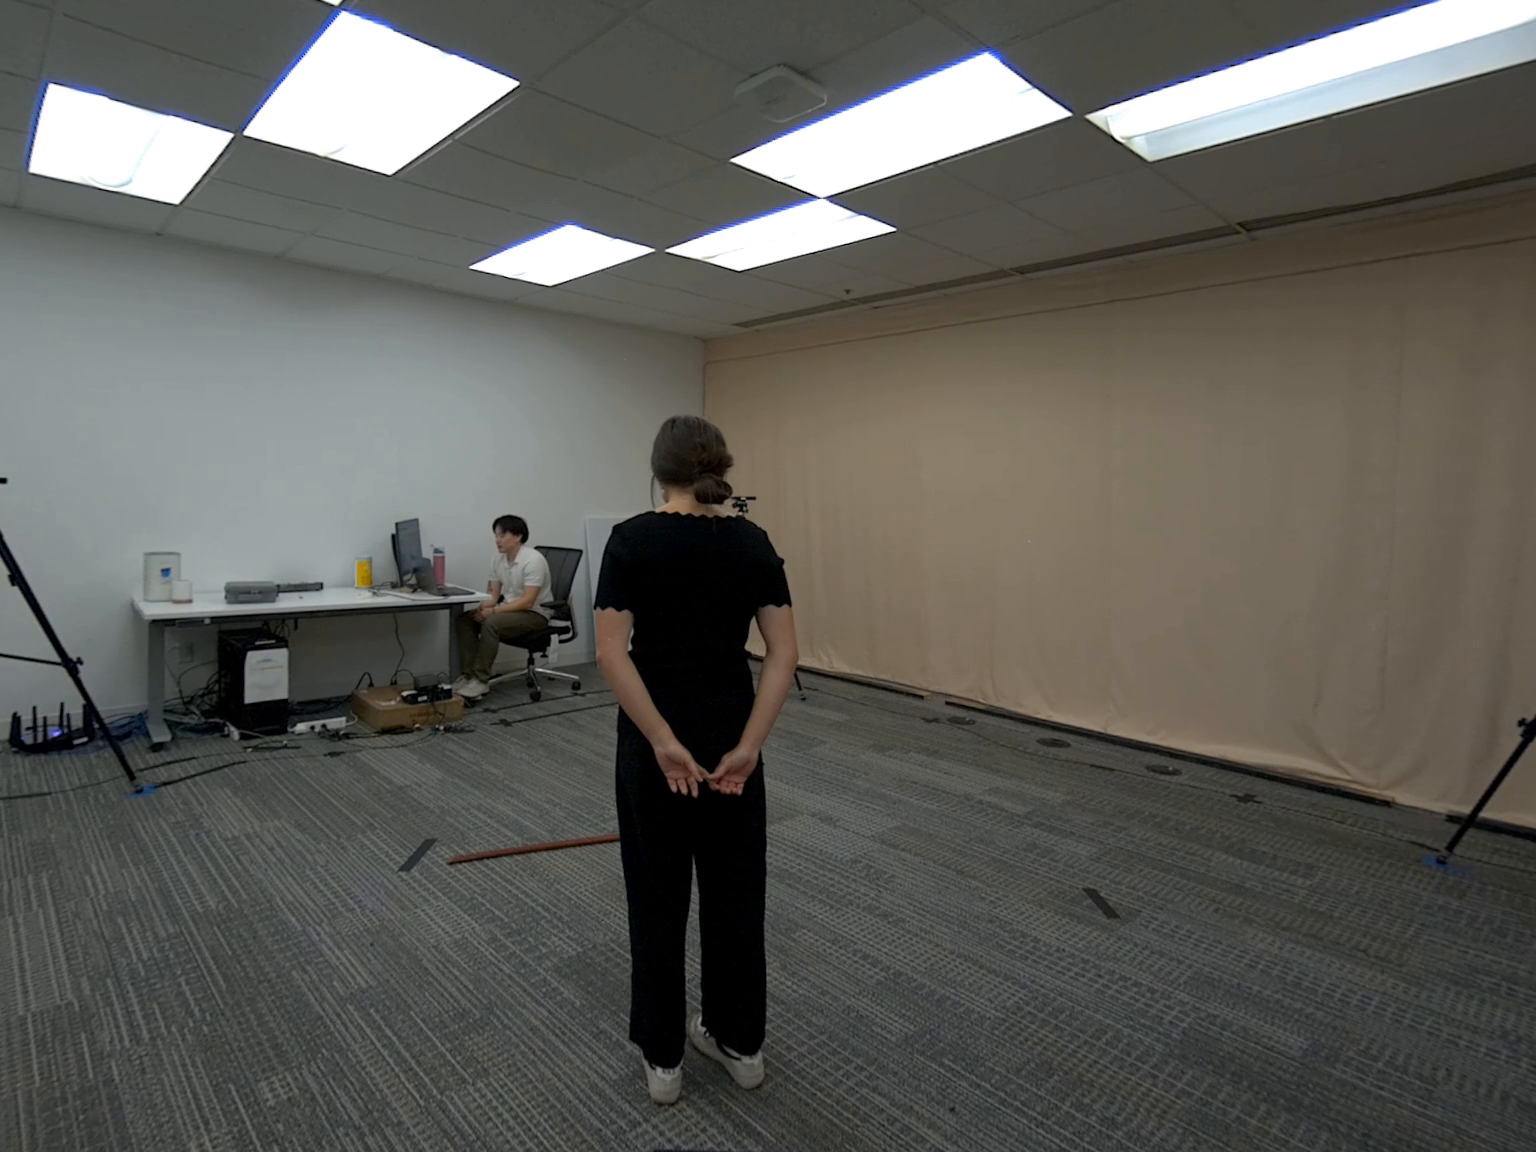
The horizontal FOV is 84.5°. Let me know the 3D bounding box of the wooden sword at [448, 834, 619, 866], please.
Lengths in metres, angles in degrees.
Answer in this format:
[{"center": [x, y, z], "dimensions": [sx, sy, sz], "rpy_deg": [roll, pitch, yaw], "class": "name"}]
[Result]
[{"center": [-0.720, 1.046, 3.328], "dimensions": [1.009, 0.024, 0.051], "rpy_deg": [-1, -12, -20], "class": "wooden sword"}]
